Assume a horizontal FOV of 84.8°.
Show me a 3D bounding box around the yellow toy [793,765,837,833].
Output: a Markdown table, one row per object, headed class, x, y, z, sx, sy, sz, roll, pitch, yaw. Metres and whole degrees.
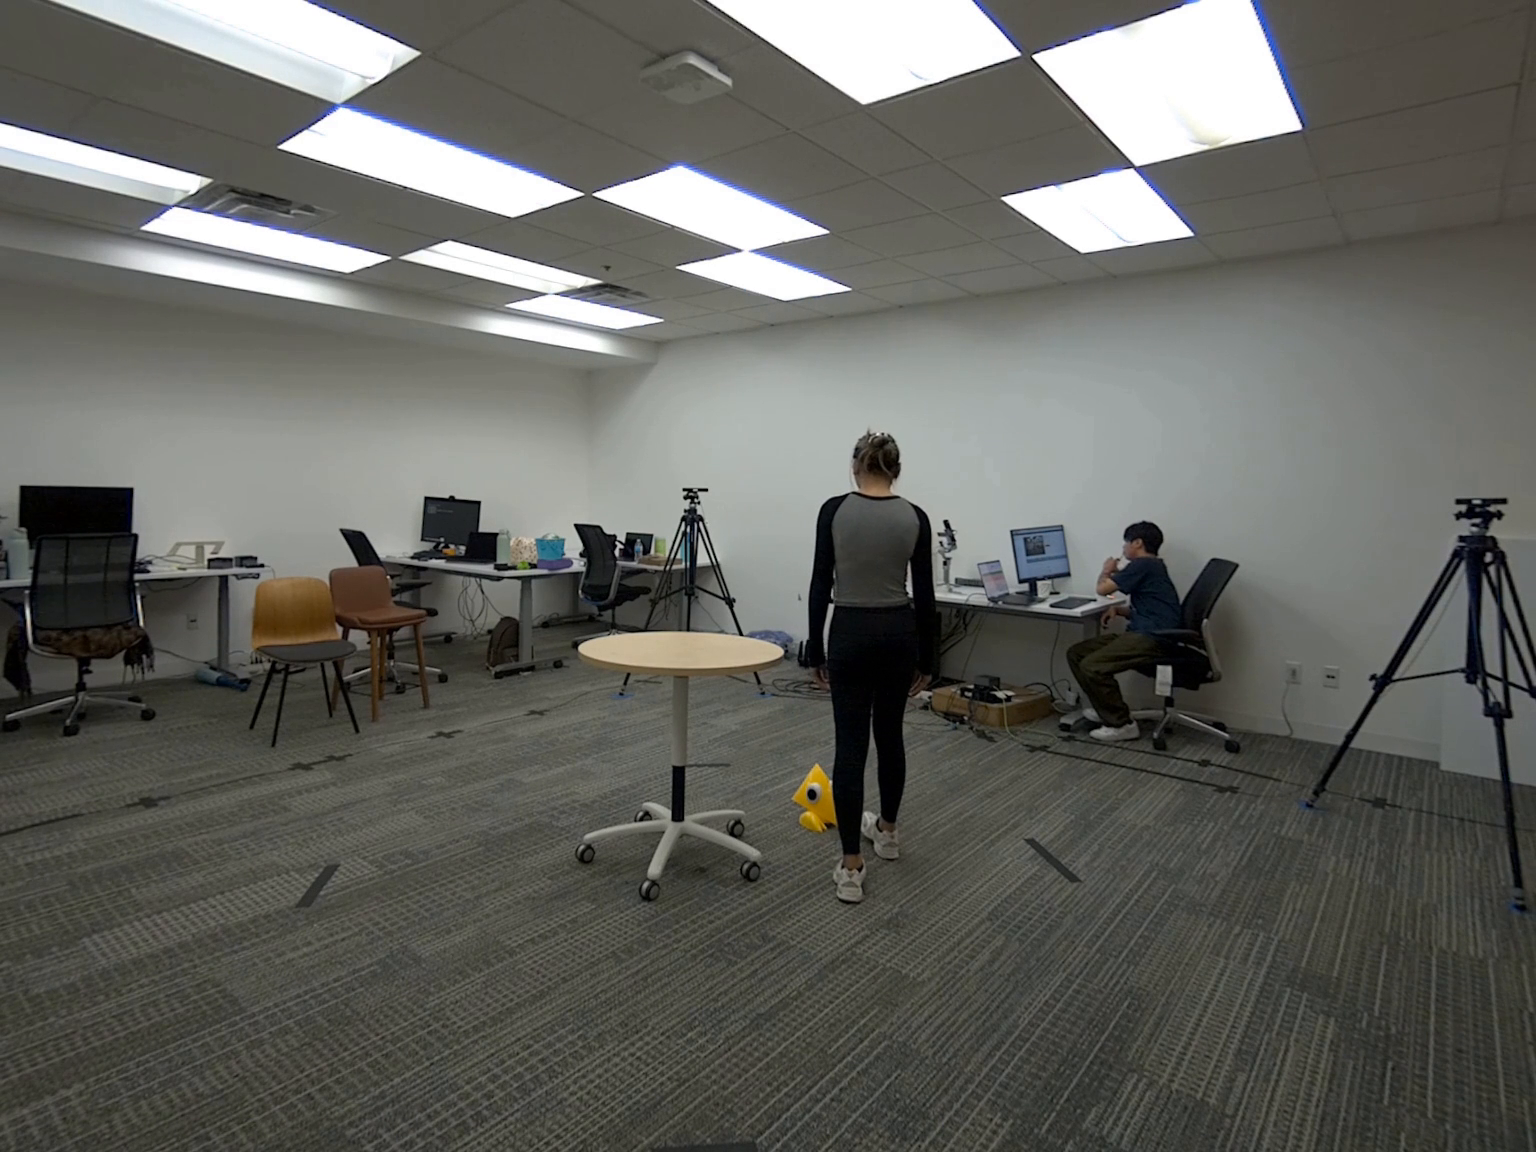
| class | x | y | z | sx | sy | sz | roll | pitch | yaw |
| --- | --- | --- | --- | --- | --- | --- | --- | --- | --- |
| yellow toy | 0.228 | 0.923 | 3.580 | 0.199 | 0.230 | 0.199 | 1 | 4 | -27 |
